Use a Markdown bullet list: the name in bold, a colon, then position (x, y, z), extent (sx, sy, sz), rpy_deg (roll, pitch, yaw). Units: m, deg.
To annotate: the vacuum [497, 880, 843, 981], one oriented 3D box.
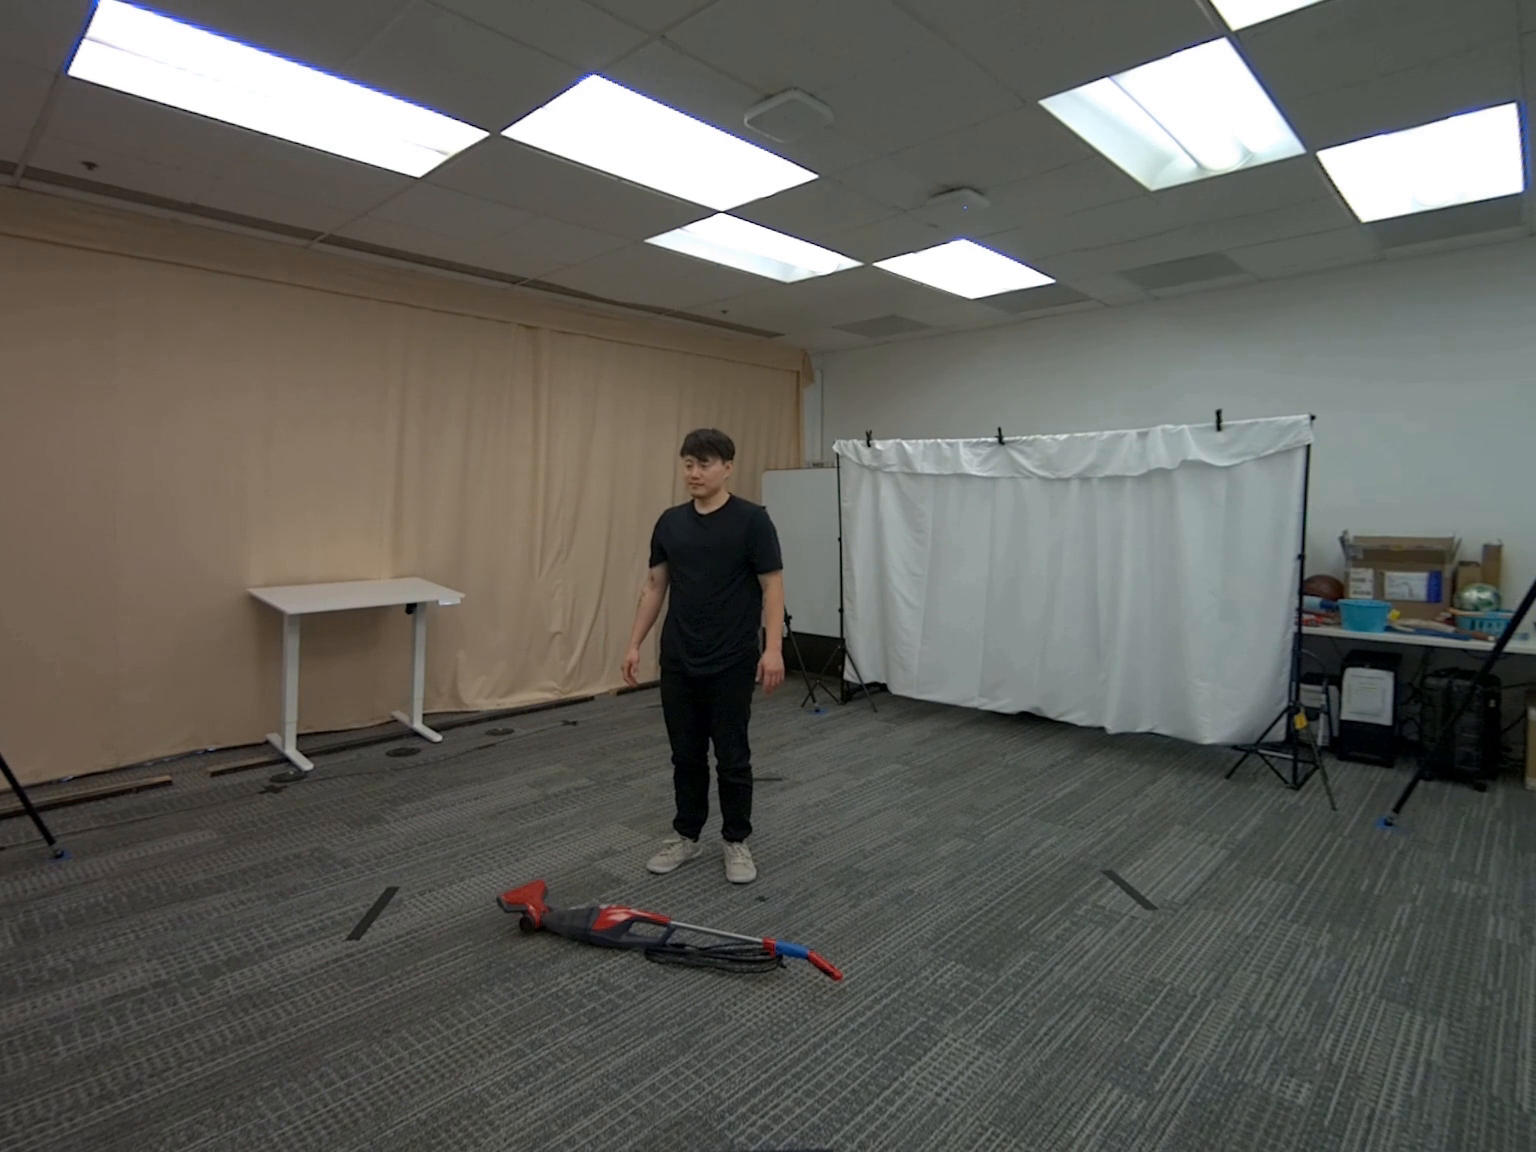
- **vacuum**: position (-0.297, 1.125, 2.596), extent (1.073, 0.144, 0.246), rpy_deg (3, -6, 21)
